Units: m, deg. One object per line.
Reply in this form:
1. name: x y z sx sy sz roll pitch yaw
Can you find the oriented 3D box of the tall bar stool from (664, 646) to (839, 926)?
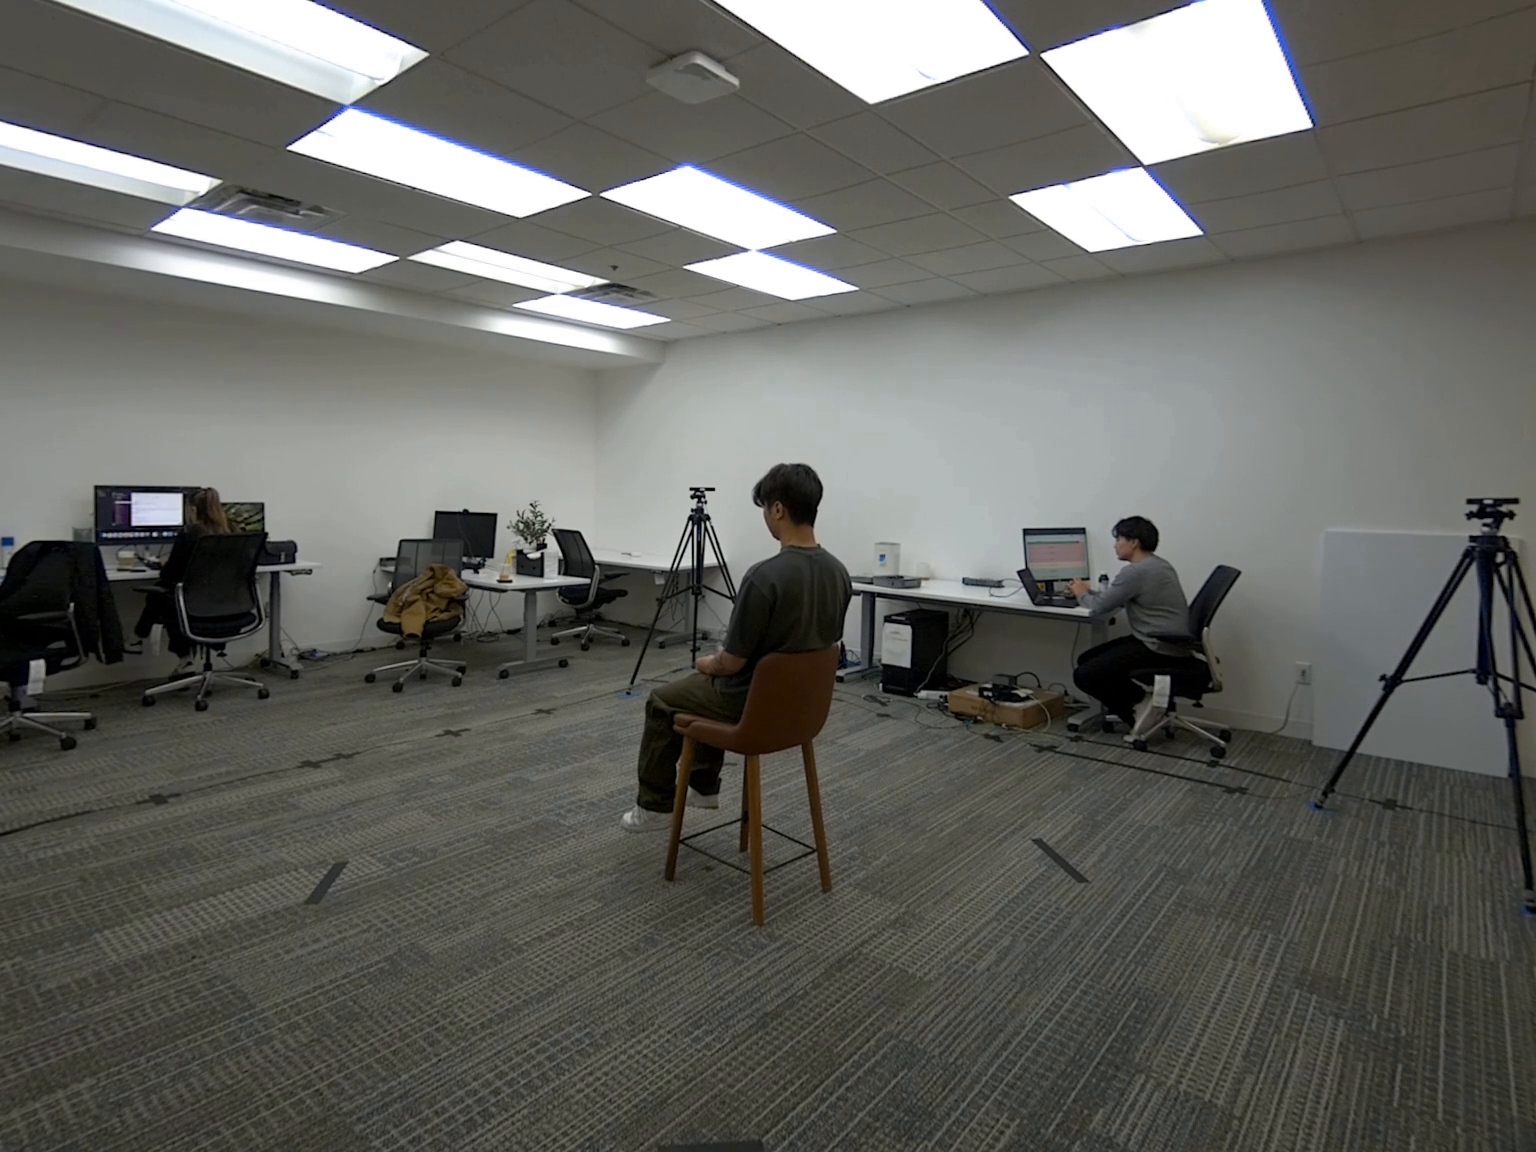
1. tall bar stool: -0.051 0.651 2.959 0.484 0.886 0.442 8 6 44
